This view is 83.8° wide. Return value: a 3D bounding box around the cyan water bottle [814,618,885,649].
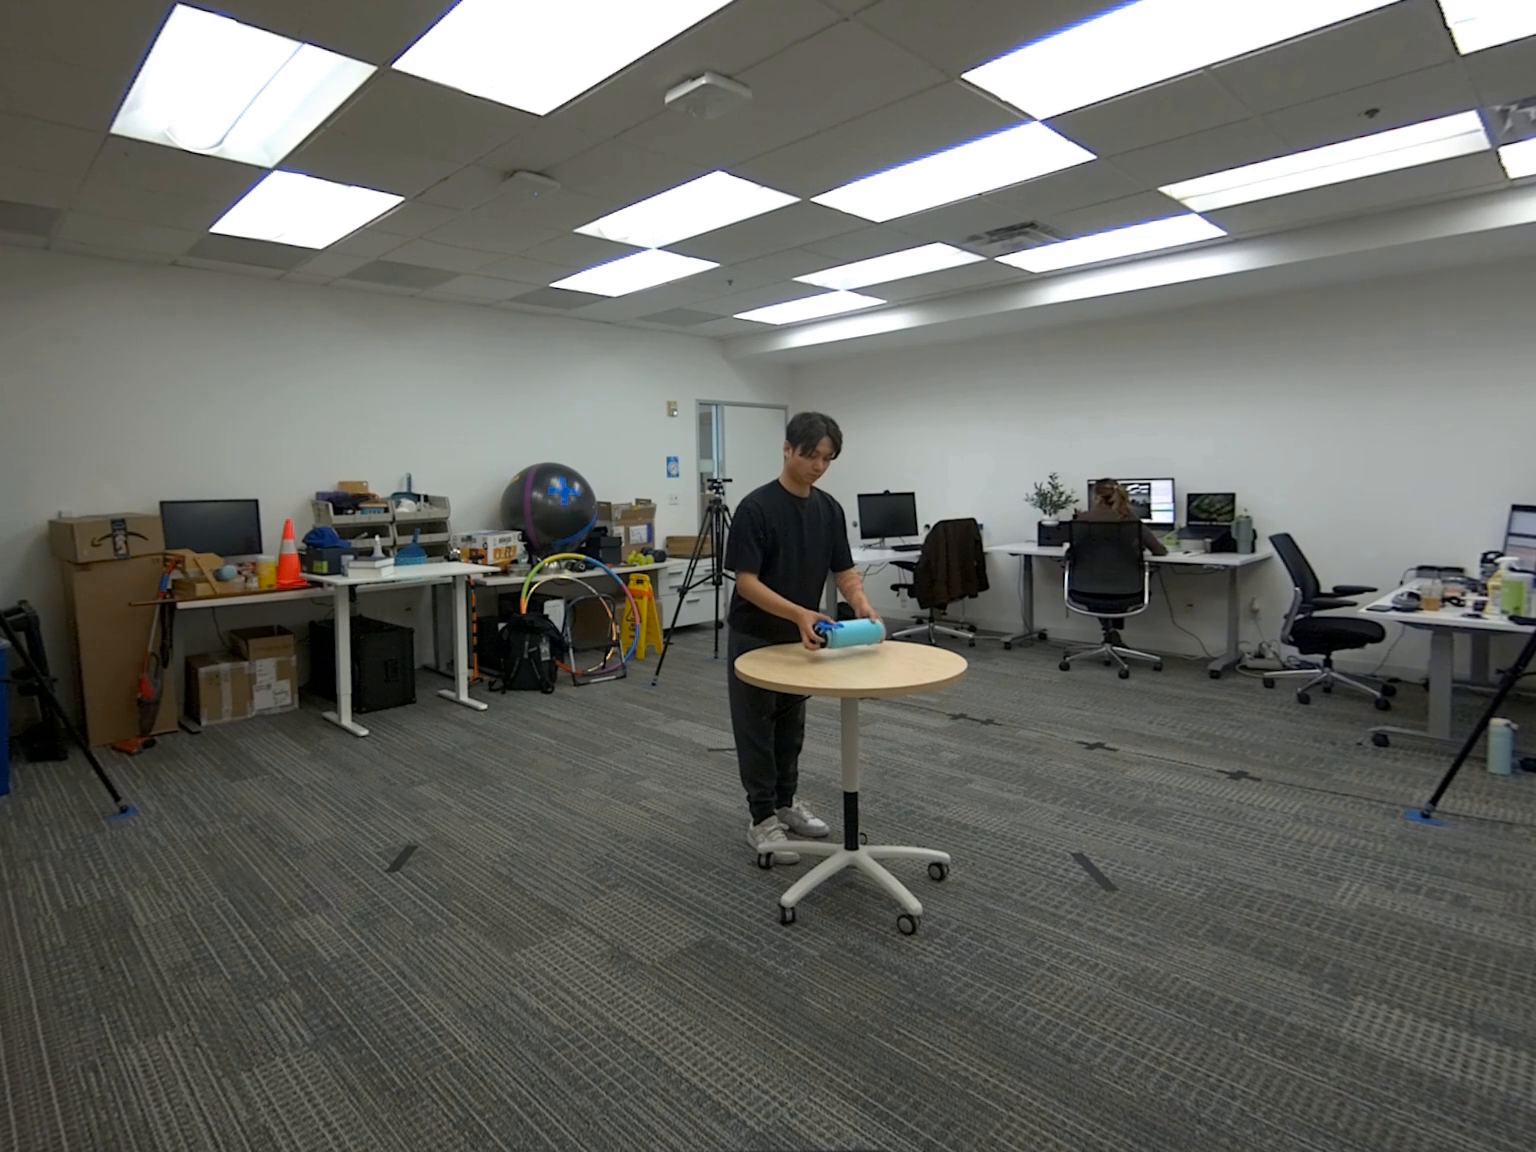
[{"bbox_3d":[0.256,0.206,2.920,0.276,0.092,0.095,-3,5,-37],"label":"cyan water bottle"}]
